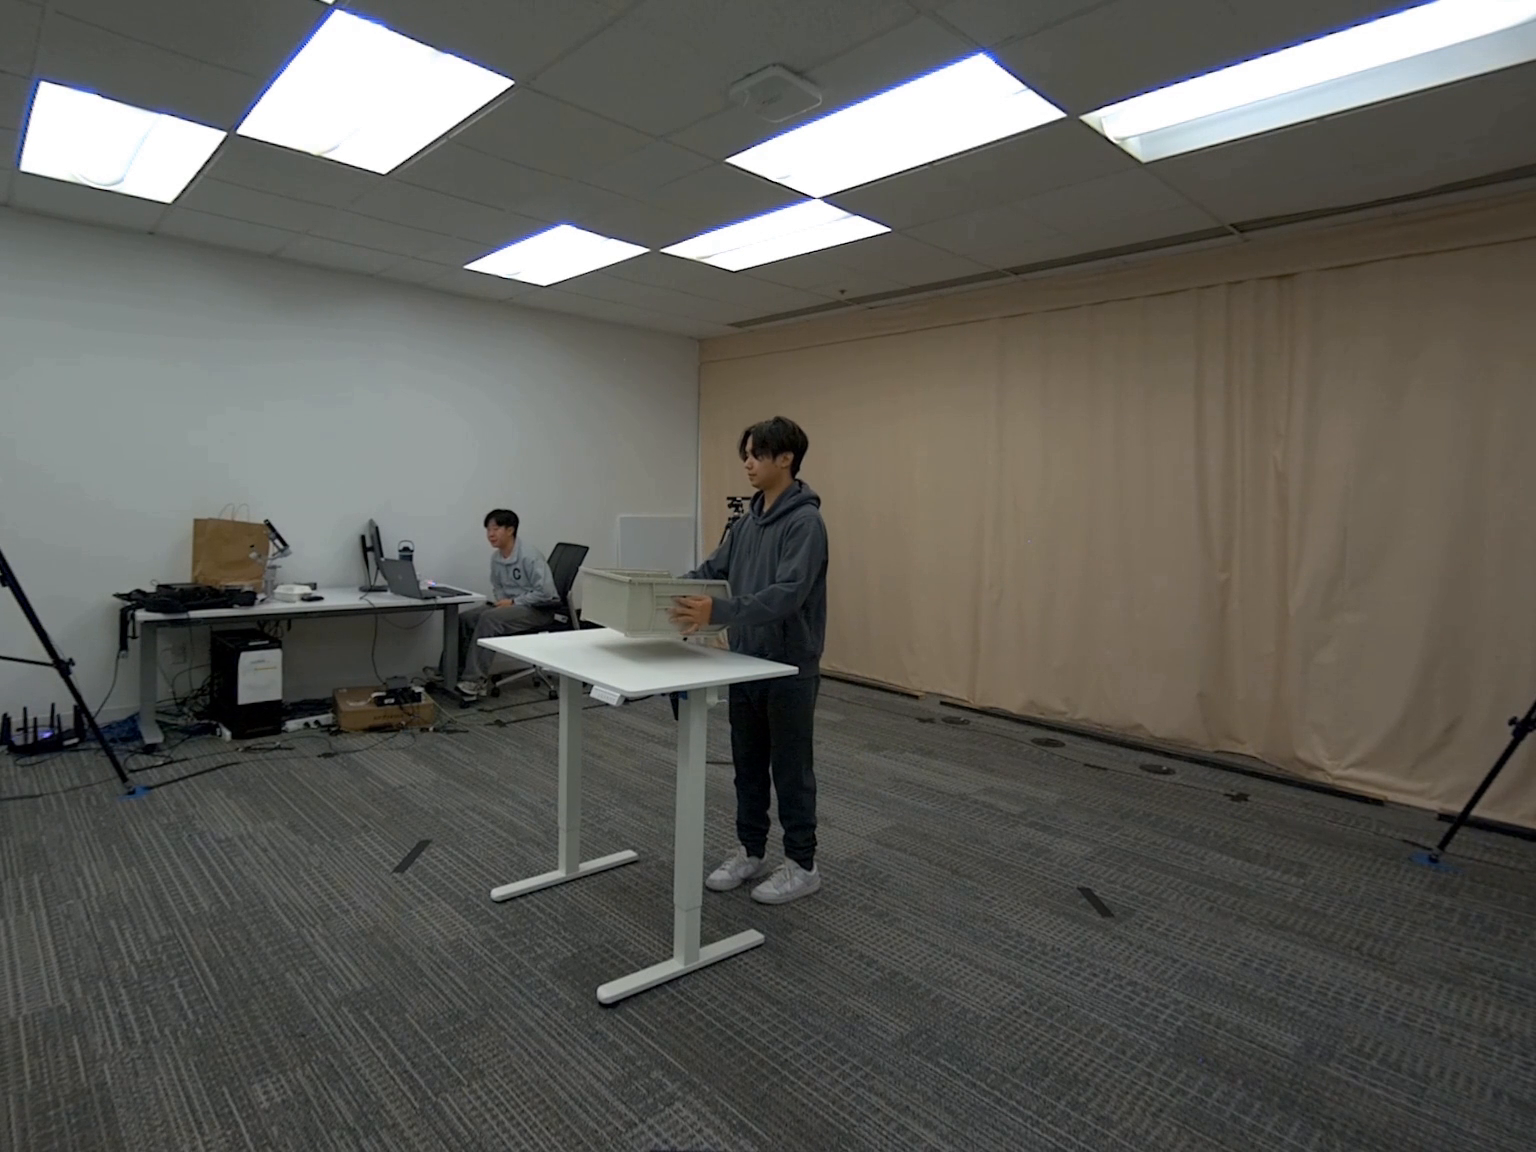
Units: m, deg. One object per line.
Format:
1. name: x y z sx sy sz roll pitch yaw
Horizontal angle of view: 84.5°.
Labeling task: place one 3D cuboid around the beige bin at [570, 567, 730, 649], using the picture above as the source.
1. beige bin: -0.378 0.087 2.771 0.369 0.188 0.432 1 4 -32
